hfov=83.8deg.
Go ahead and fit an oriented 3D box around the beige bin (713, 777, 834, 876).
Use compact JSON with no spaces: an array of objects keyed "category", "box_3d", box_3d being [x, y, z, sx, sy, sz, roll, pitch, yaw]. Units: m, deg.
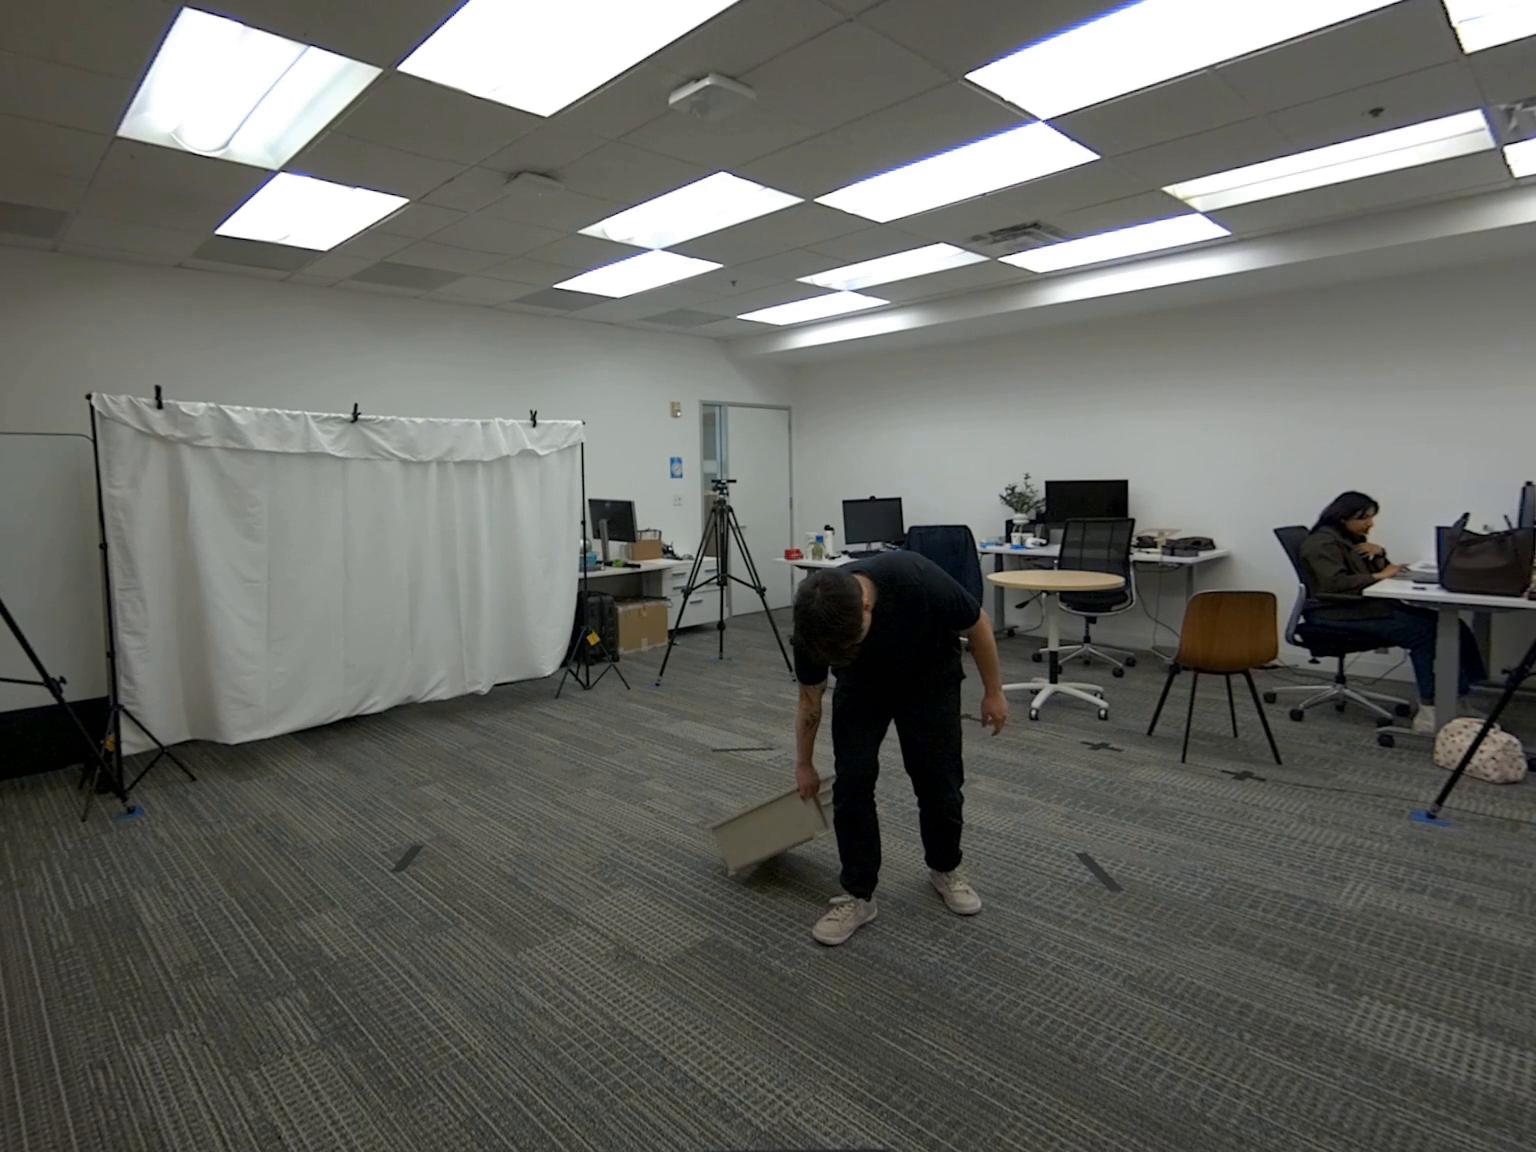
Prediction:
[{"category":"beige bin","box_3d":[0.075,0.864,3.010,0.426,0.193,0.366,-31,-18,28]}]
